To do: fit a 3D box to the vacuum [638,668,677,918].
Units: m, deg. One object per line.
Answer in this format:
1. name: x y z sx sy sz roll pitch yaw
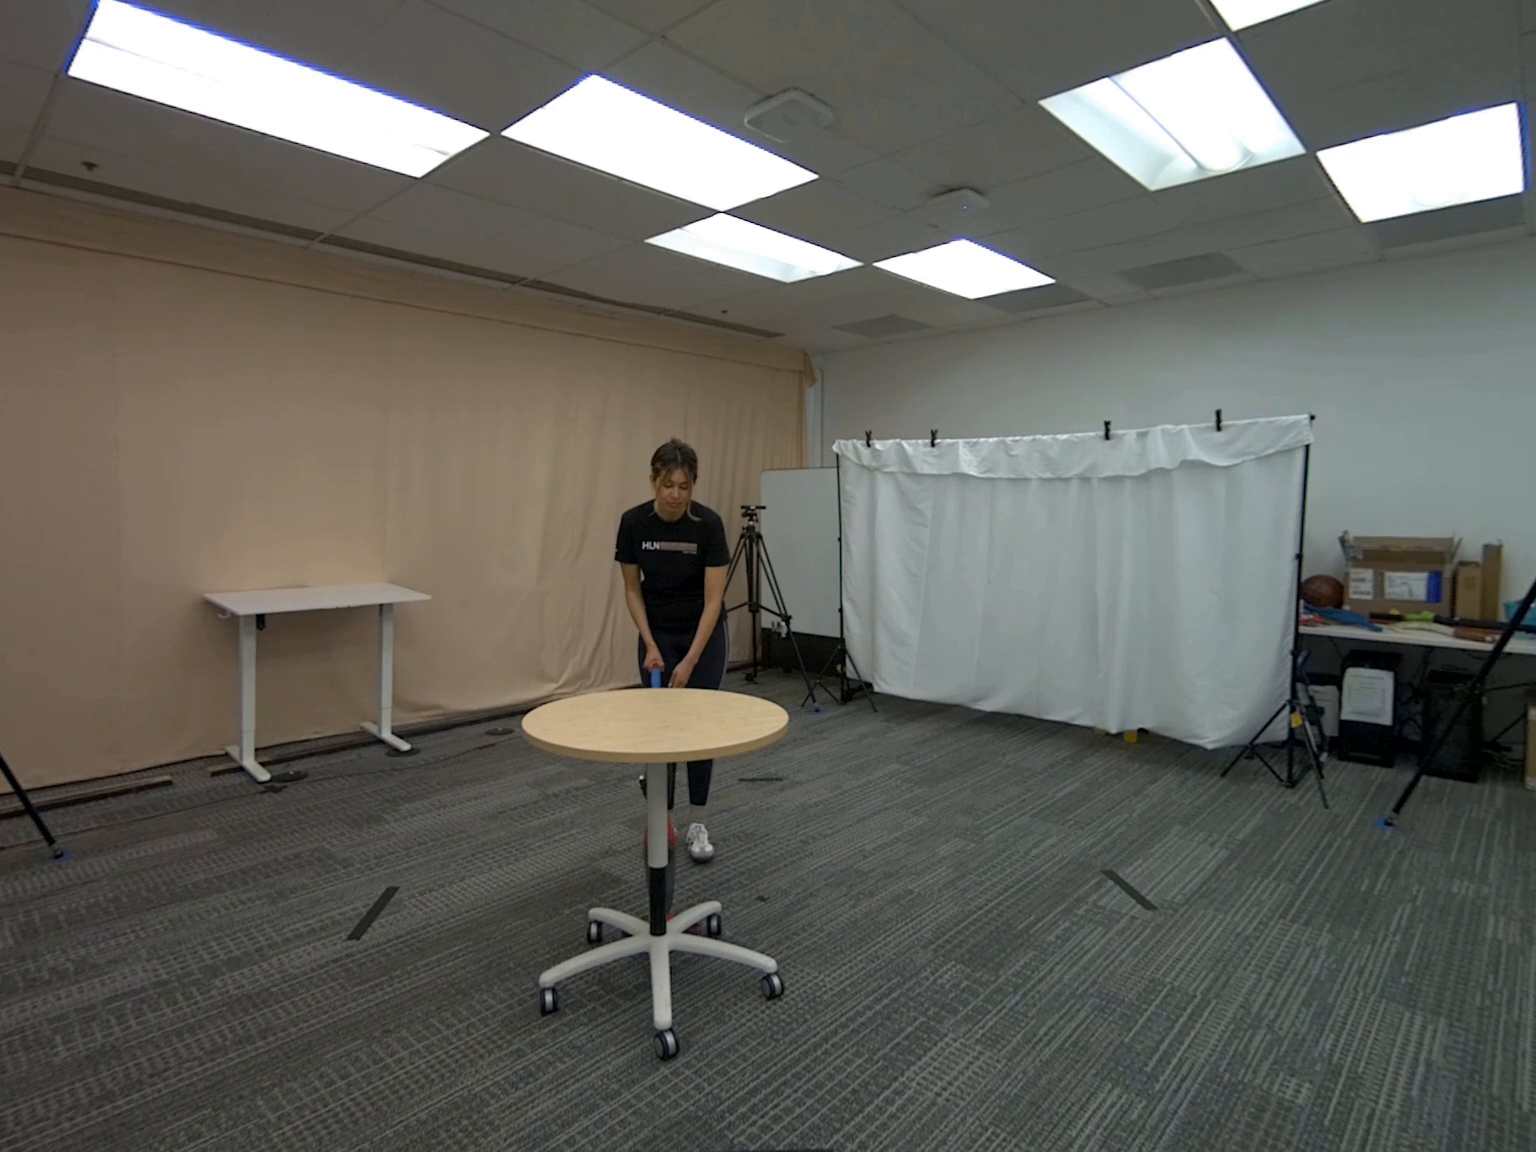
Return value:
1. vacuum: -0.393 0.723 3.055 0.251 1.072 0.142 -1 -41 -8
